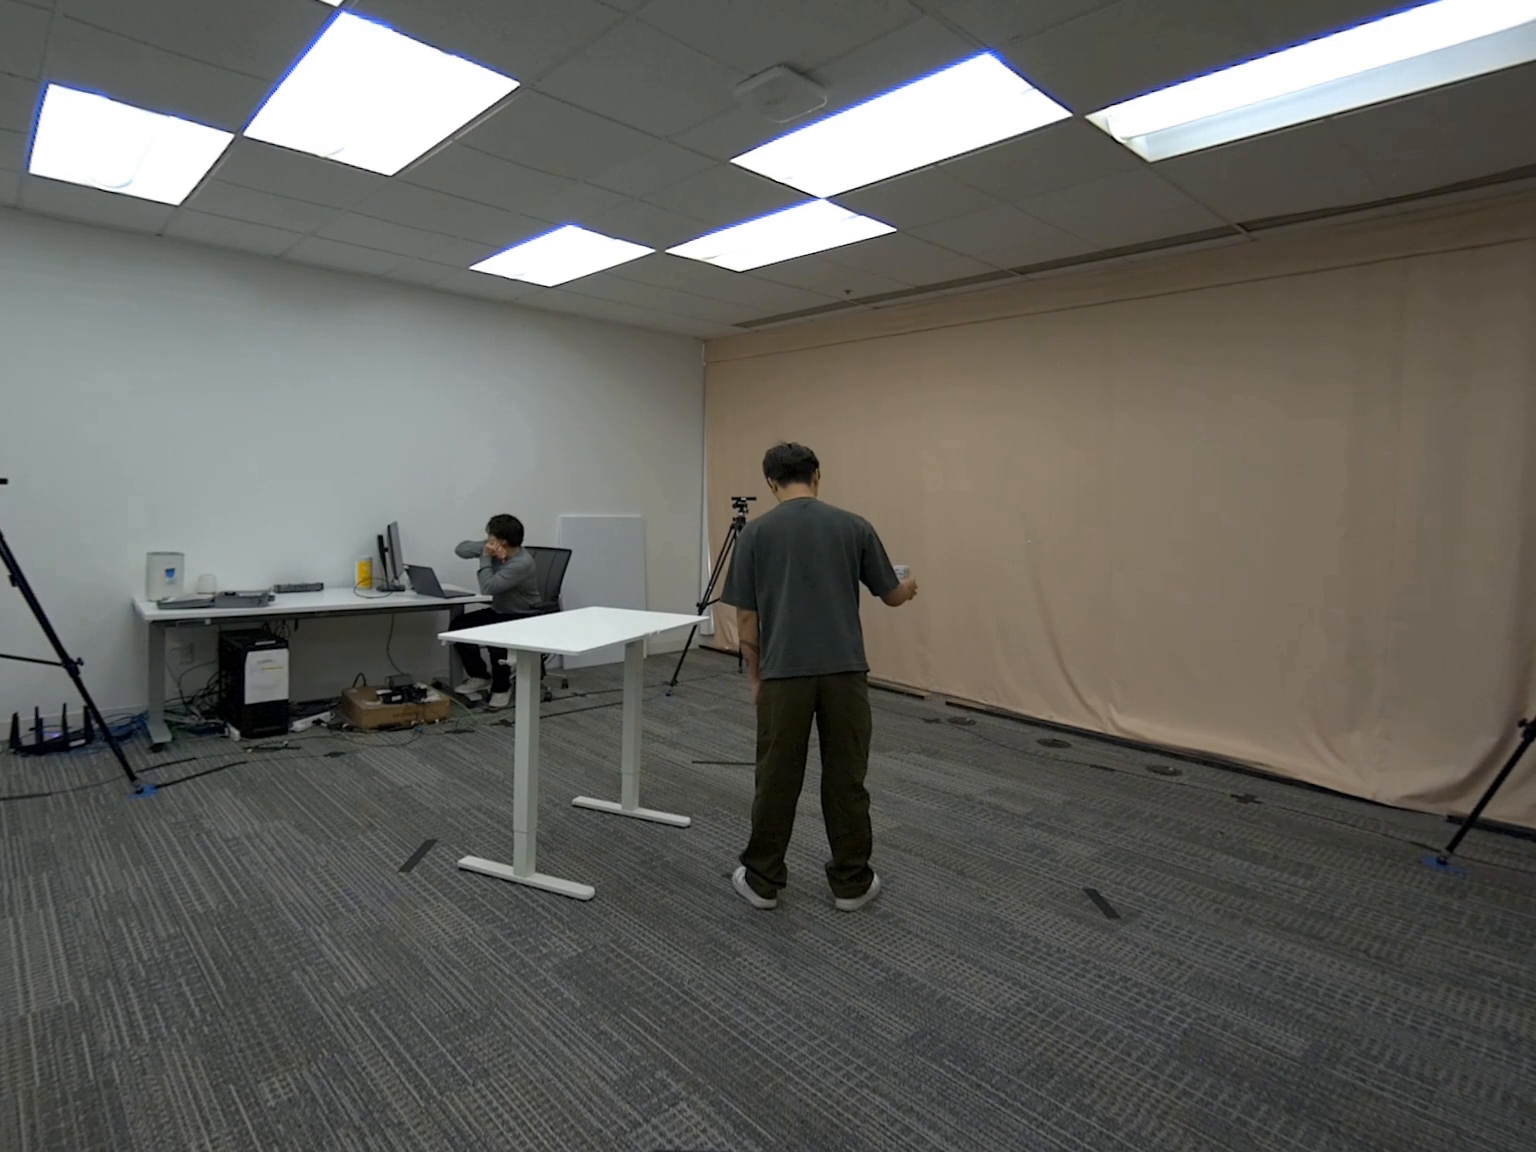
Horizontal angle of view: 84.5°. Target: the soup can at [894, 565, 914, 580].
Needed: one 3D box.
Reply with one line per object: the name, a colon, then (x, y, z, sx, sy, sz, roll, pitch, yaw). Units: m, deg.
soup can: (0.529, 0.024, 3.331, 0.067, 0.122, 0.067, 3, -9, -1)
